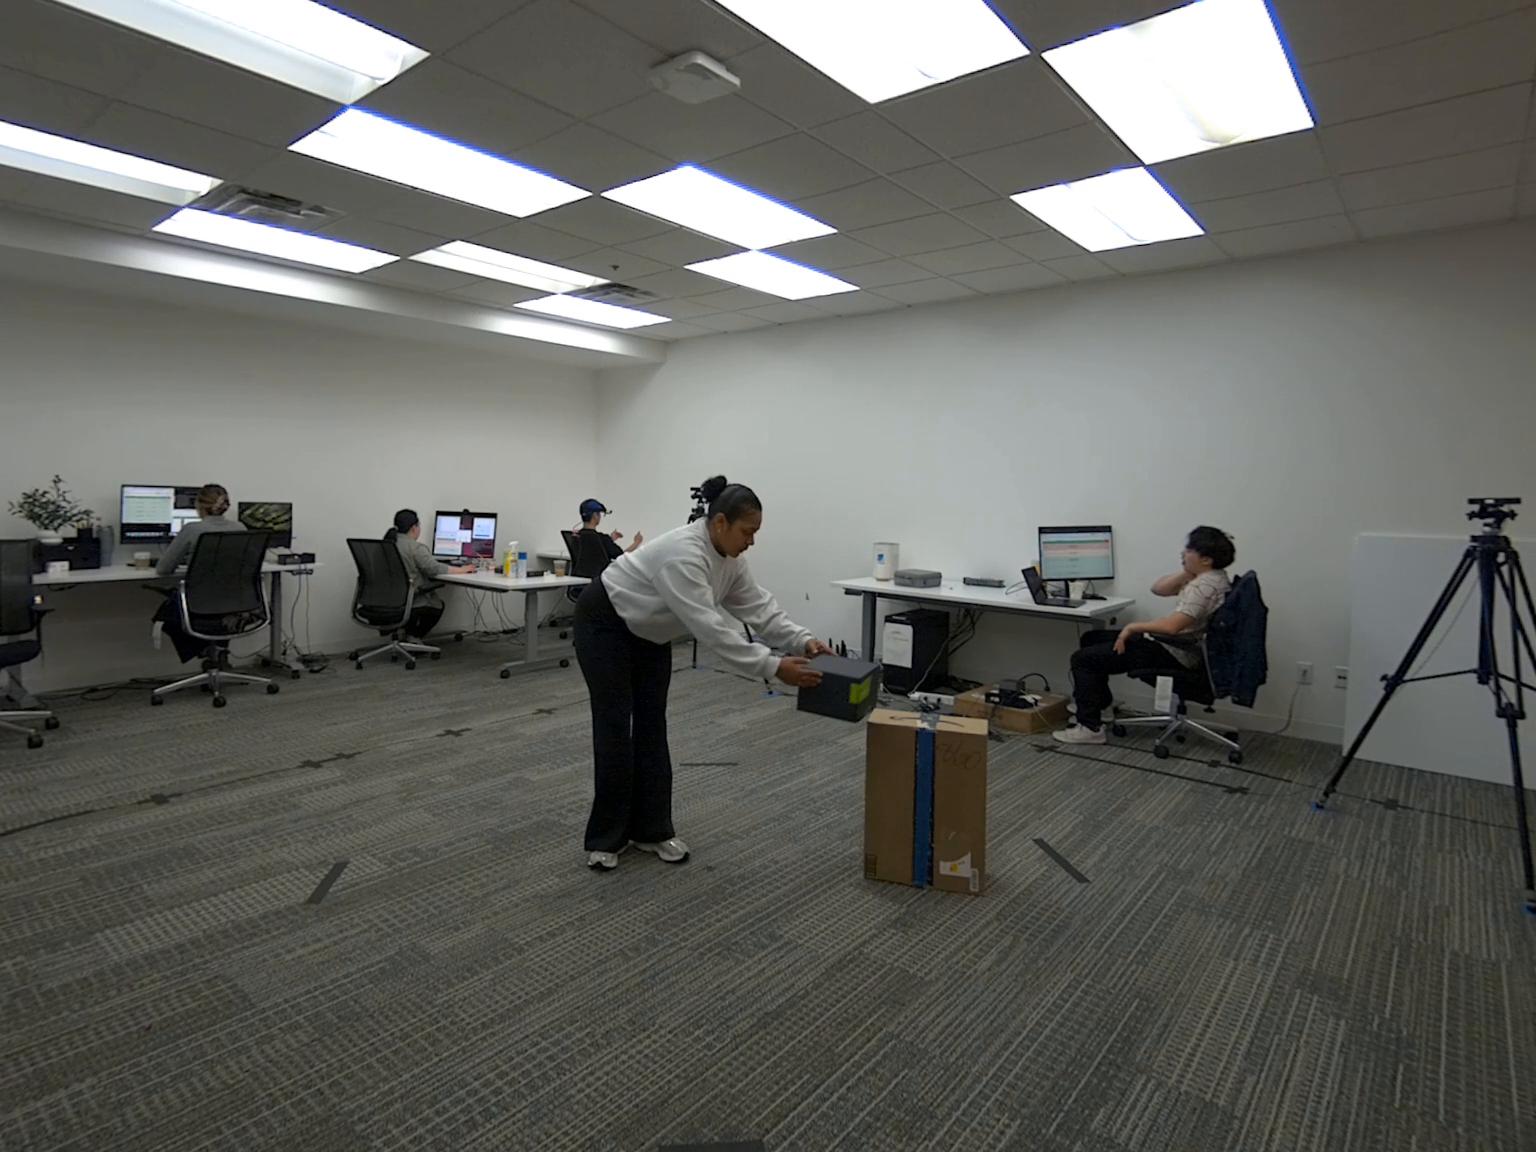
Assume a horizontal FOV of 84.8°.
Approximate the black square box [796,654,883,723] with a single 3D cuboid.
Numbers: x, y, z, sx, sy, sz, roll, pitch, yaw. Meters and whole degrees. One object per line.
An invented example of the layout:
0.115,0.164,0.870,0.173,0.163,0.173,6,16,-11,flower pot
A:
0.228,0.397,2.946,0.223,0.155,0.223,7,10,24,black square box
